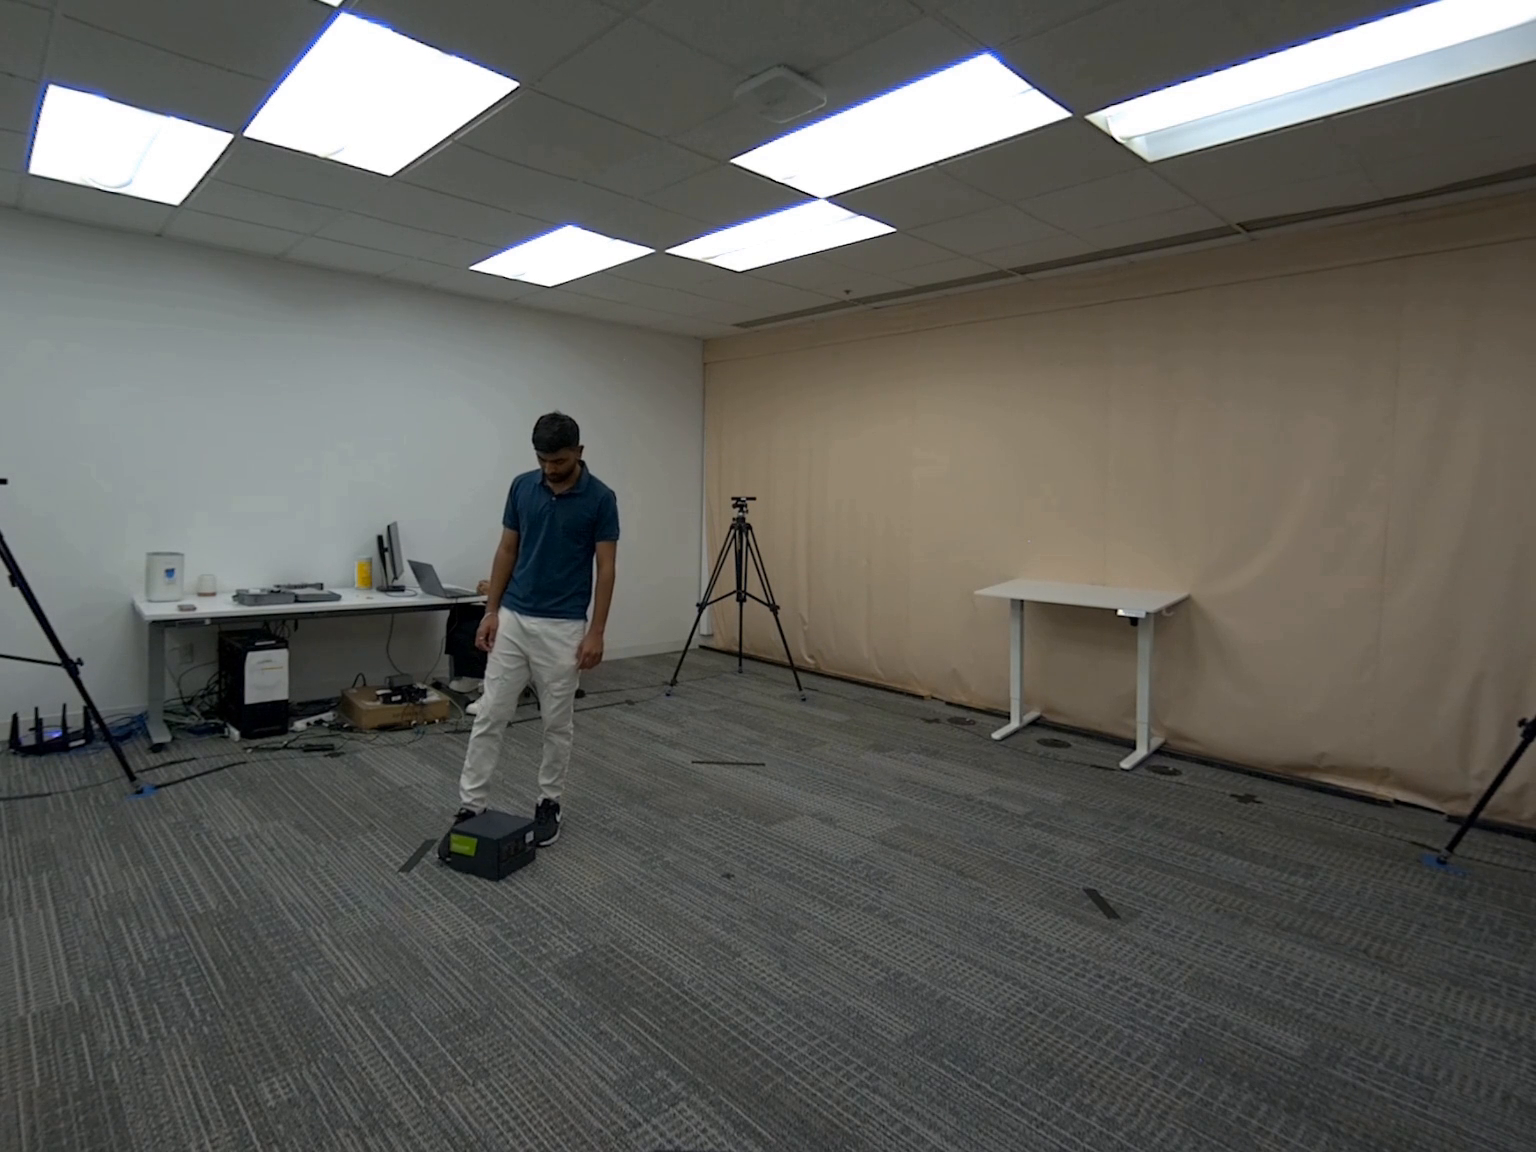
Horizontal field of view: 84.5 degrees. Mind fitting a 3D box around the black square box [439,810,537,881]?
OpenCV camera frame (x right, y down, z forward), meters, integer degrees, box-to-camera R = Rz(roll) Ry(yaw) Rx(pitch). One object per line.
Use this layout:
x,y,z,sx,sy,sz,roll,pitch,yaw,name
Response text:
-1.025,1.004,3.147,0.232,0.155,0.214,3,5,23,black square box
